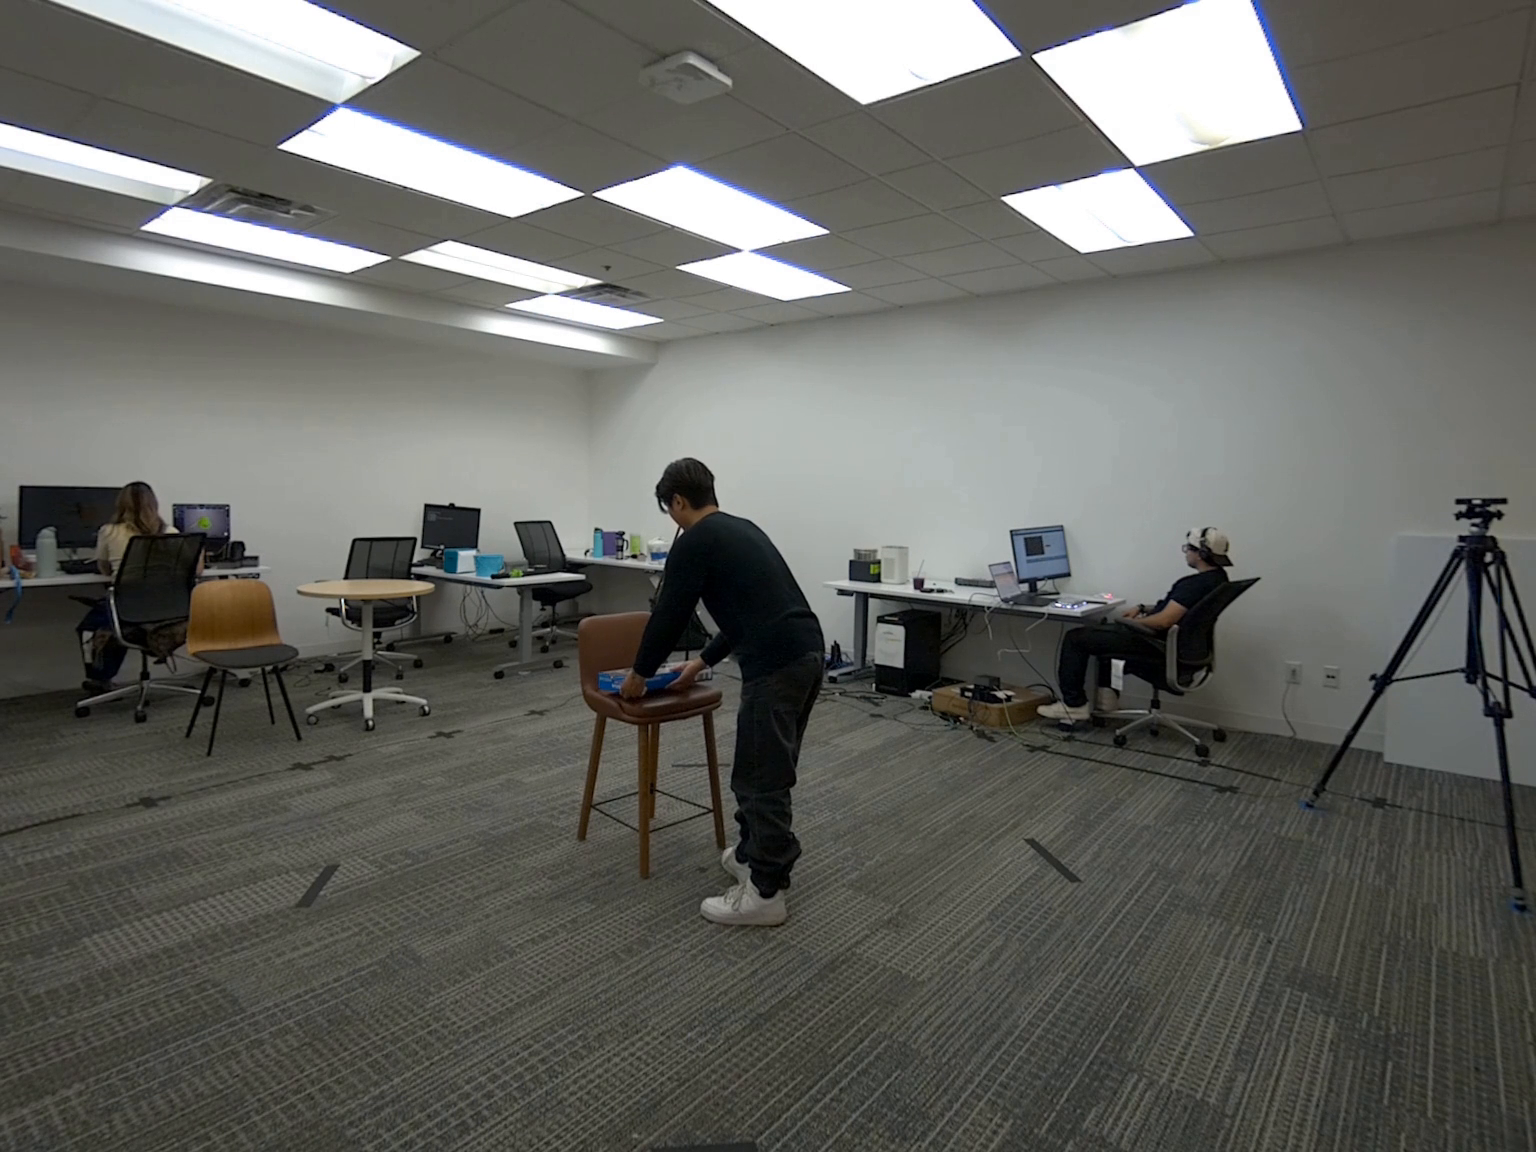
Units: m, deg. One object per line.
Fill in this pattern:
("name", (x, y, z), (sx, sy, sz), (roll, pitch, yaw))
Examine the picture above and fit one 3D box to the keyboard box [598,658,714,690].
("keyboard box", (-0.431, 0.379, 3.276), (0.182, 0.059, 0.423), (2, 3, 44))
